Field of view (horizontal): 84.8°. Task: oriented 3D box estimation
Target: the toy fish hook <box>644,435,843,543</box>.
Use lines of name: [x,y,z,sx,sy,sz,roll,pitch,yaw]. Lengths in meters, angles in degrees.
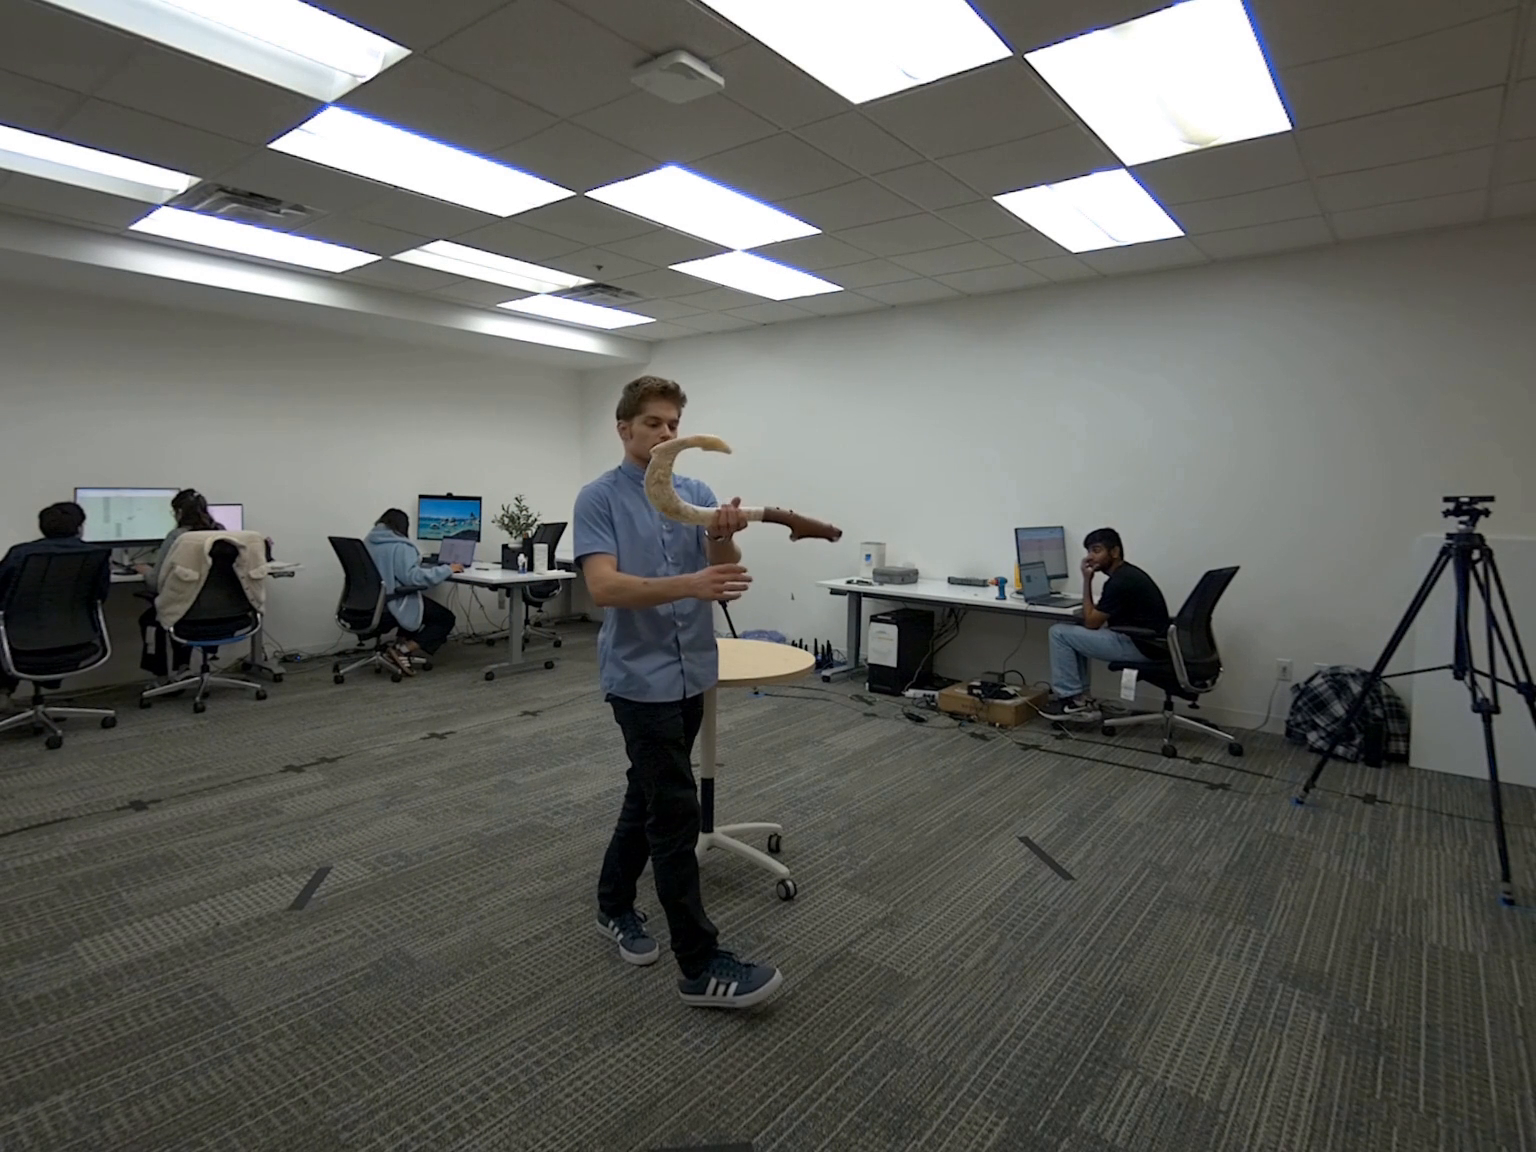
toy fish hook: [-0.058,-0.211,2.079,0.504,0.223,0.049,13,11,-3]
